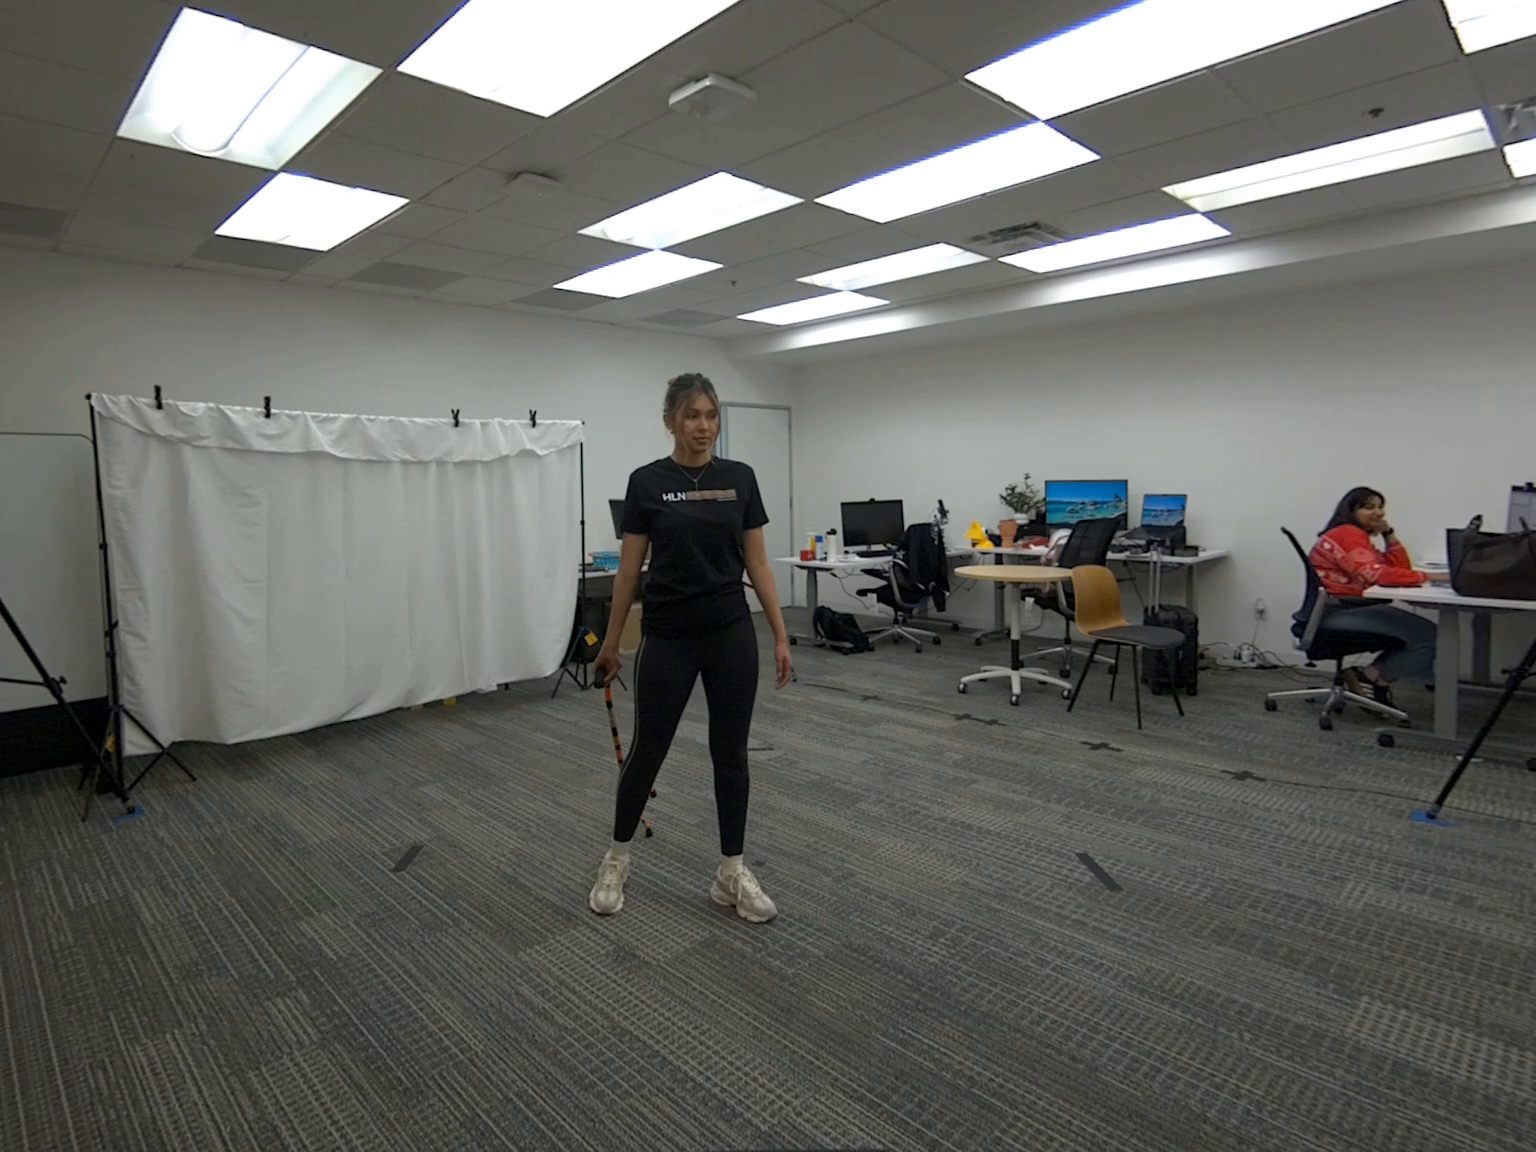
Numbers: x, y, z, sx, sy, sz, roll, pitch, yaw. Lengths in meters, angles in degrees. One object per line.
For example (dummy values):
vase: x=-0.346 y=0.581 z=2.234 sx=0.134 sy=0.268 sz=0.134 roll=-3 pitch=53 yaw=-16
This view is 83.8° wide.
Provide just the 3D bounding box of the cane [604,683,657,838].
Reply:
cane: x=-0.541 y=0.625 z=3.160 sx=0.152 sy=0.882 sz=0.212 roll=-1 pitch=41 yaw=2
